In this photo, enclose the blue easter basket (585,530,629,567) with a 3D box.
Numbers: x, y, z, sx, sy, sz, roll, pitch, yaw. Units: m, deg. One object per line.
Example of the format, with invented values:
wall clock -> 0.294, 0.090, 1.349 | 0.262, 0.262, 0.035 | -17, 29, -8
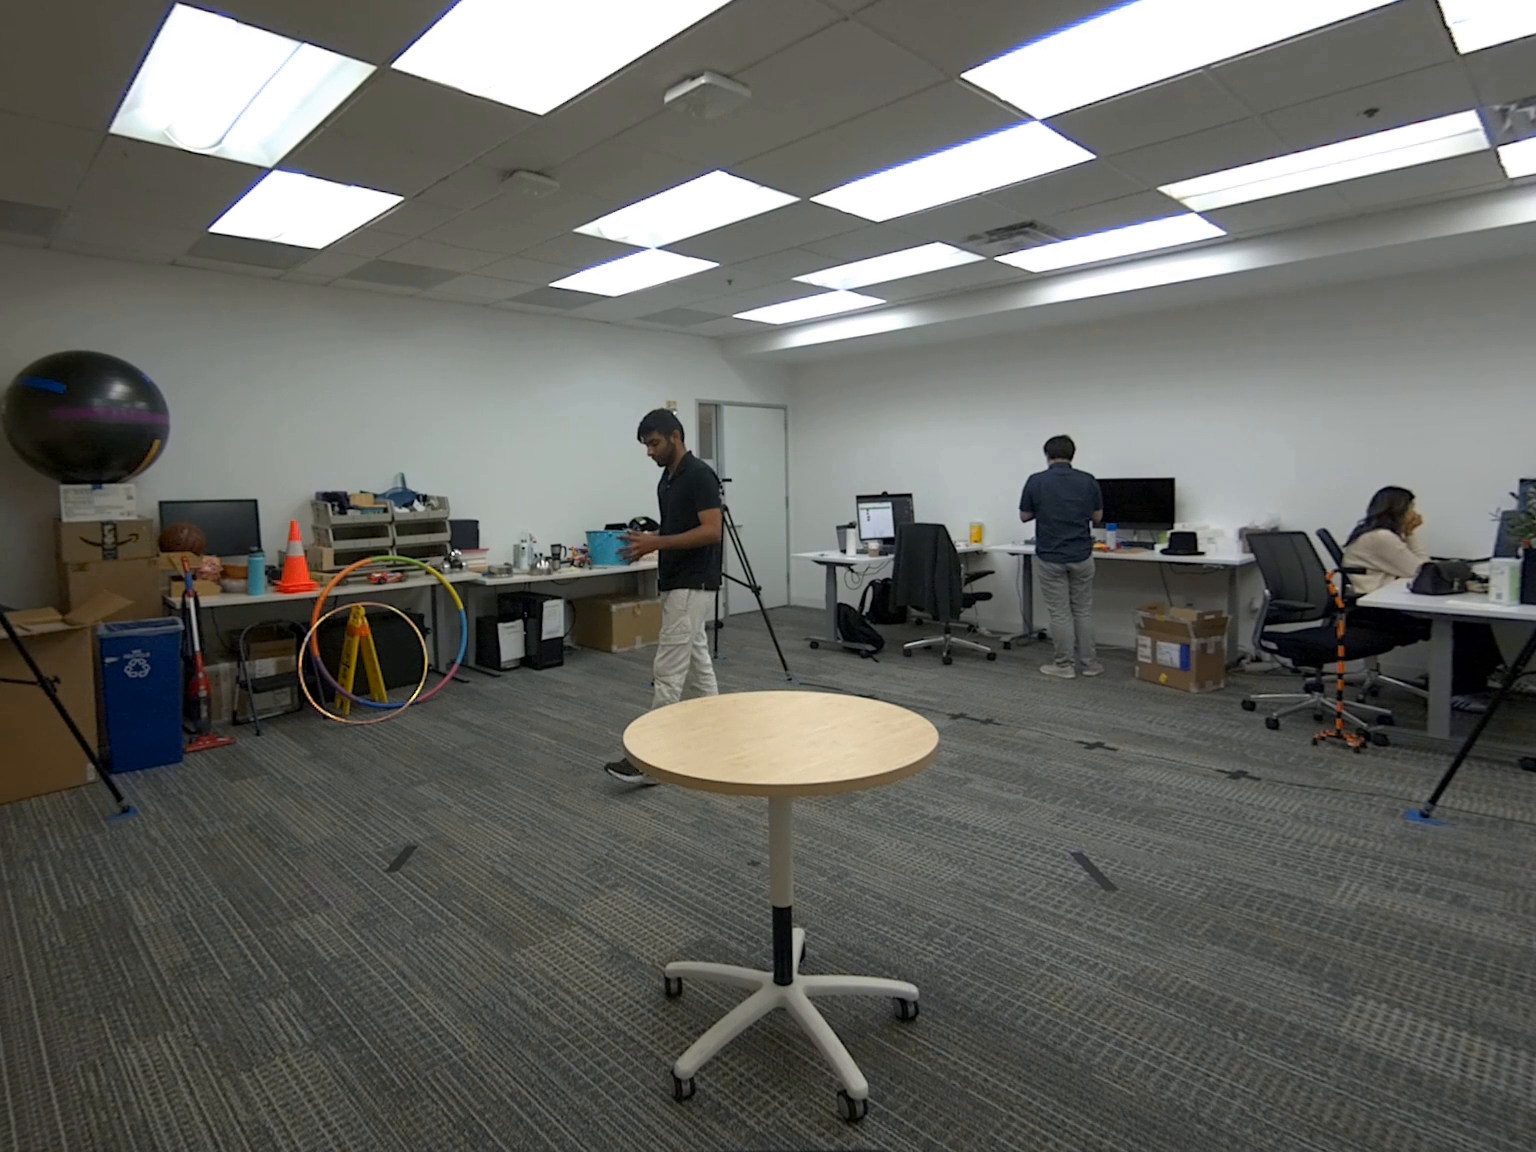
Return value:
blue easter basket -> -0.715, -0.124, 3.860 | 0.243, 0.156, 0.244 | 1, 1, -2
